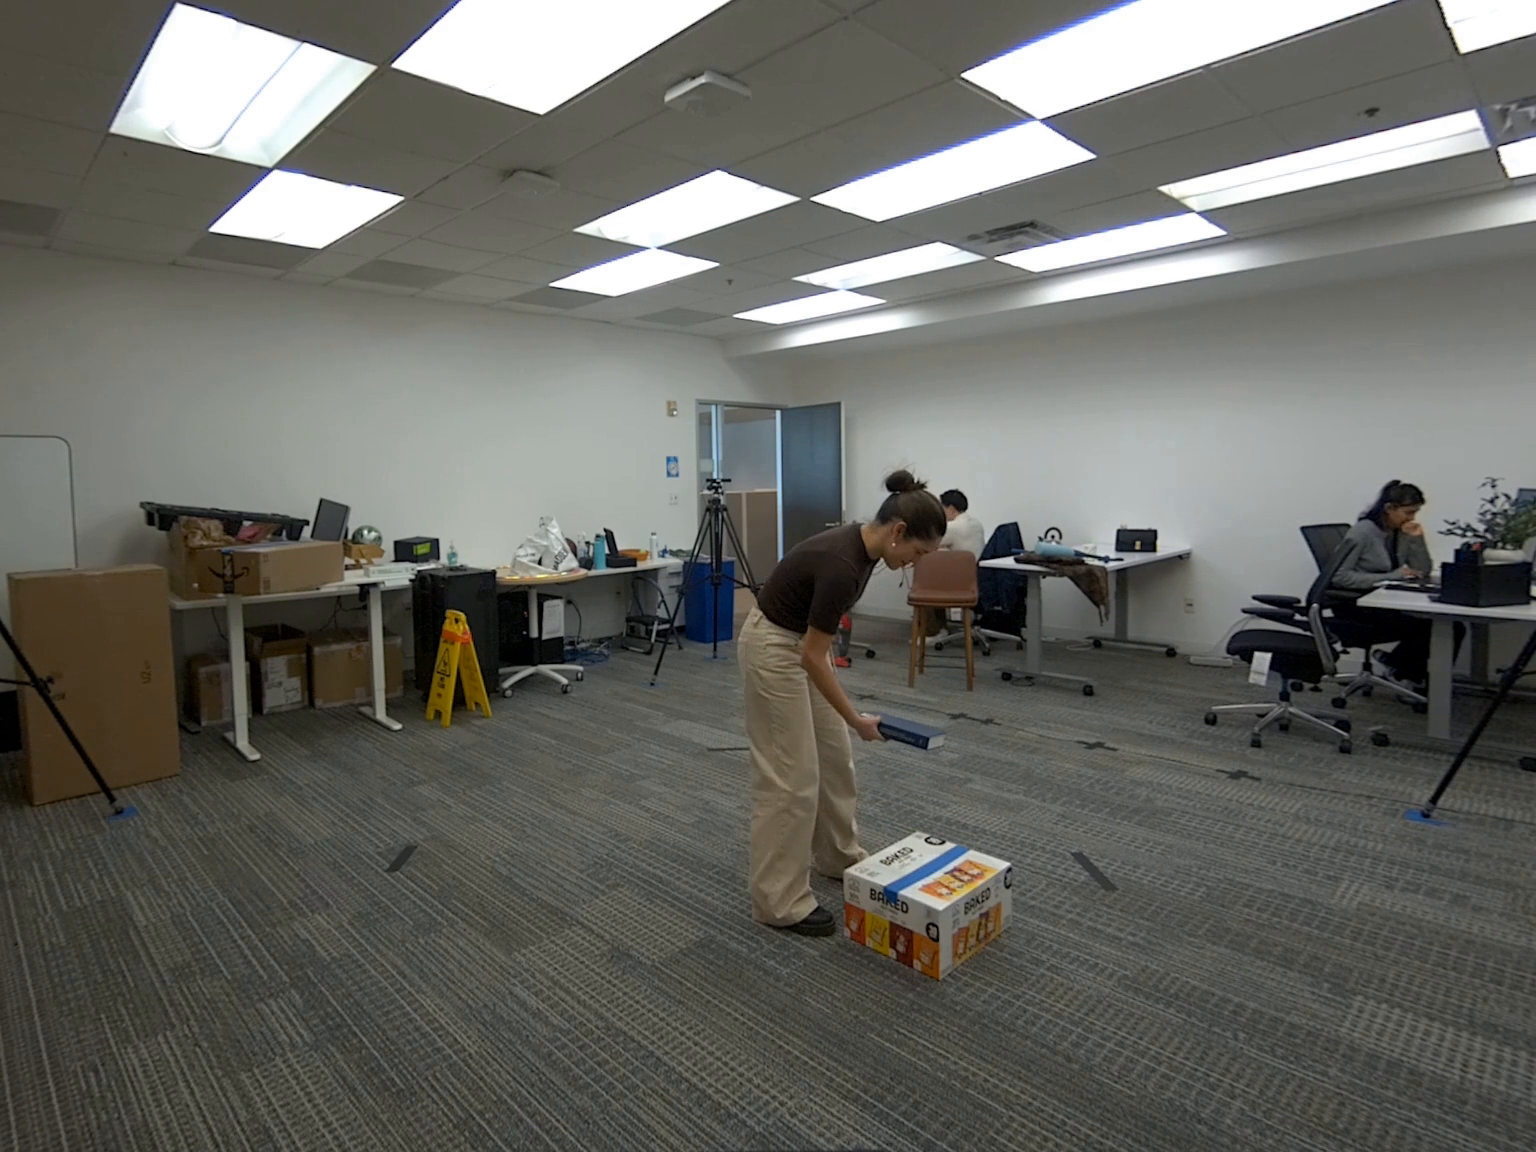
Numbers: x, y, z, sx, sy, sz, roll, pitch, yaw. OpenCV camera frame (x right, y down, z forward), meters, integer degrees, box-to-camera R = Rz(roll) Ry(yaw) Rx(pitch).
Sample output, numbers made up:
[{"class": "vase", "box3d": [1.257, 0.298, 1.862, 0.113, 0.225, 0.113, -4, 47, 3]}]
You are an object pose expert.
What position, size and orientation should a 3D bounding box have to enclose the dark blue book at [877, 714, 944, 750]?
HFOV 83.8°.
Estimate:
[{"class": "dark blue book", "box3d": [0.413, 0.466, 2.667, 0.253, 0.045, 0.158, 11, 2, 33]}]
